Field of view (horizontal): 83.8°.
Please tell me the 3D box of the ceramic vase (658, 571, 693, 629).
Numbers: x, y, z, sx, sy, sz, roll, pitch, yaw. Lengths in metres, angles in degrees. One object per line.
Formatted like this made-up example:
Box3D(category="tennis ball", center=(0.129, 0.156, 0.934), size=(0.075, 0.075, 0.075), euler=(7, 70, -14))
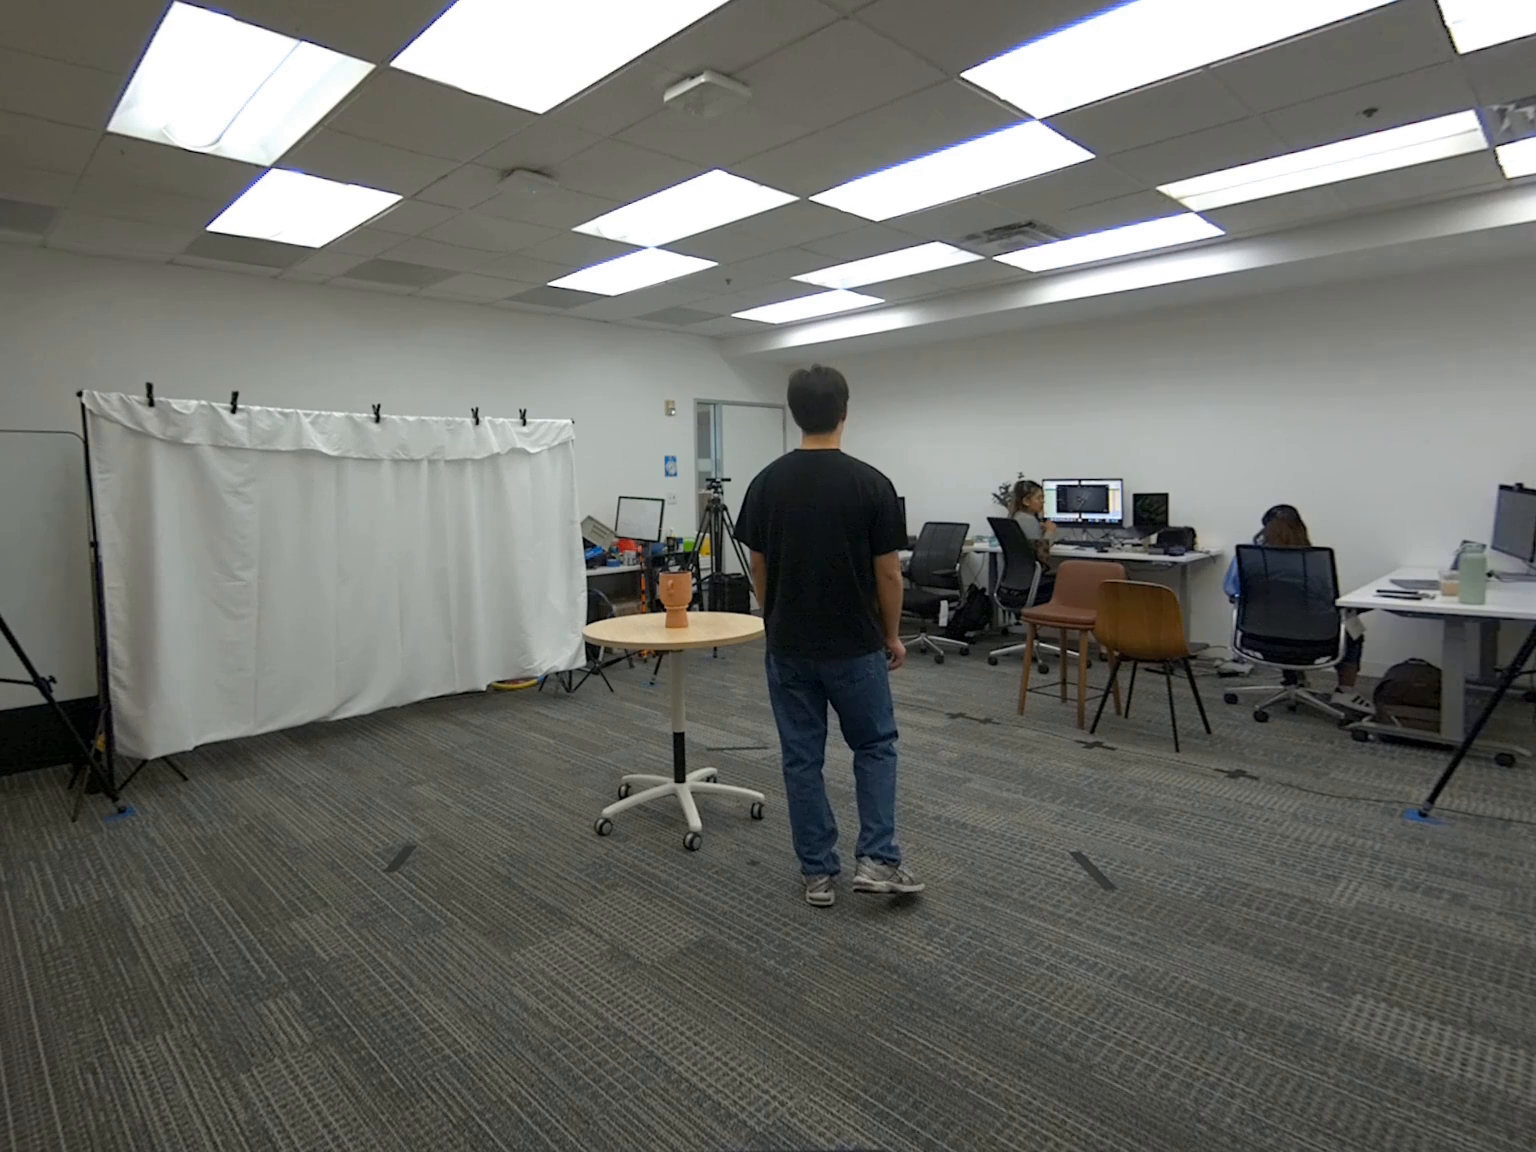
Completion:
Box3D(category="ceramic vase", center=(-0.375, 0.098, 3.510), size=(0.155, 0.219, 0.138), euler=(-3, 3, -37))
